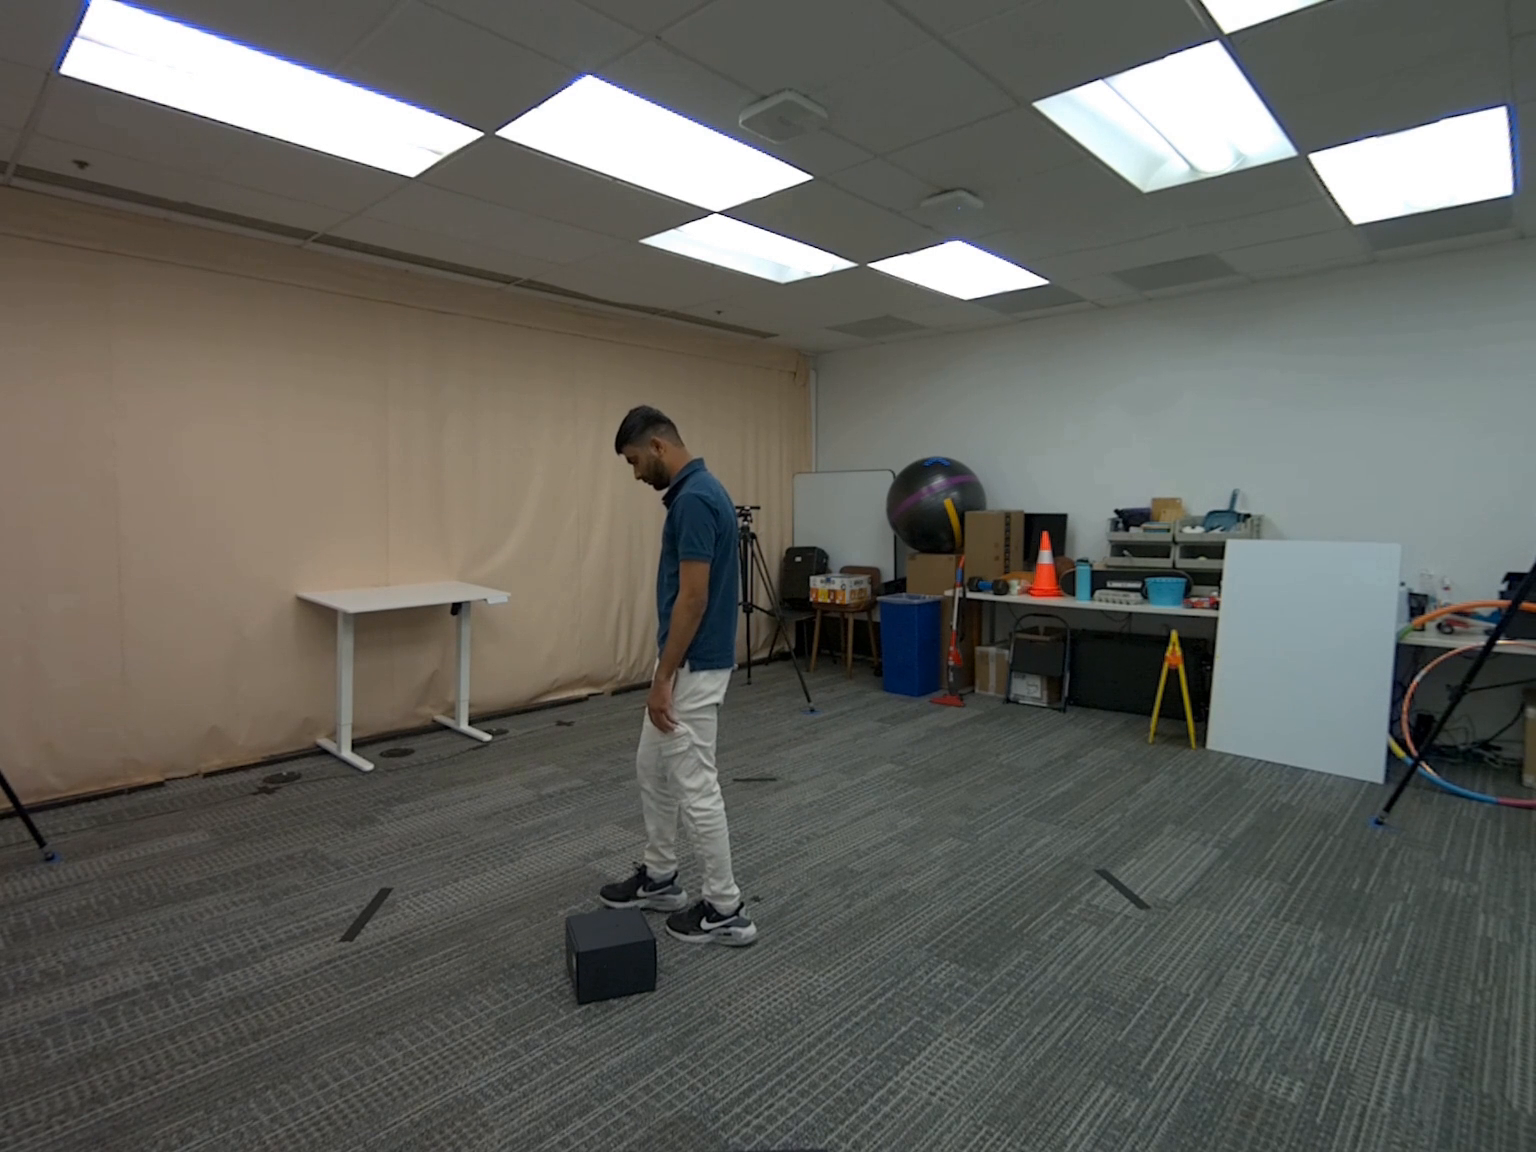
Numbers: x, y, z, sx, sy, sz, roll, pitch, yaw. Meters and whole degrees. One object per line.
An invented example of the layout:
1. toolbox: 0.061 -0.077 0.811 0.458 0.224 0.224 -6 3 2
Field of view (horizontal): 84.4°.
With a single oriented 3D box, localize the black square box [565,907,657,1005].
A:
1. black square box: -0.467 1.108 2.474 0.223 0.155 0.222 -1 4 -21
